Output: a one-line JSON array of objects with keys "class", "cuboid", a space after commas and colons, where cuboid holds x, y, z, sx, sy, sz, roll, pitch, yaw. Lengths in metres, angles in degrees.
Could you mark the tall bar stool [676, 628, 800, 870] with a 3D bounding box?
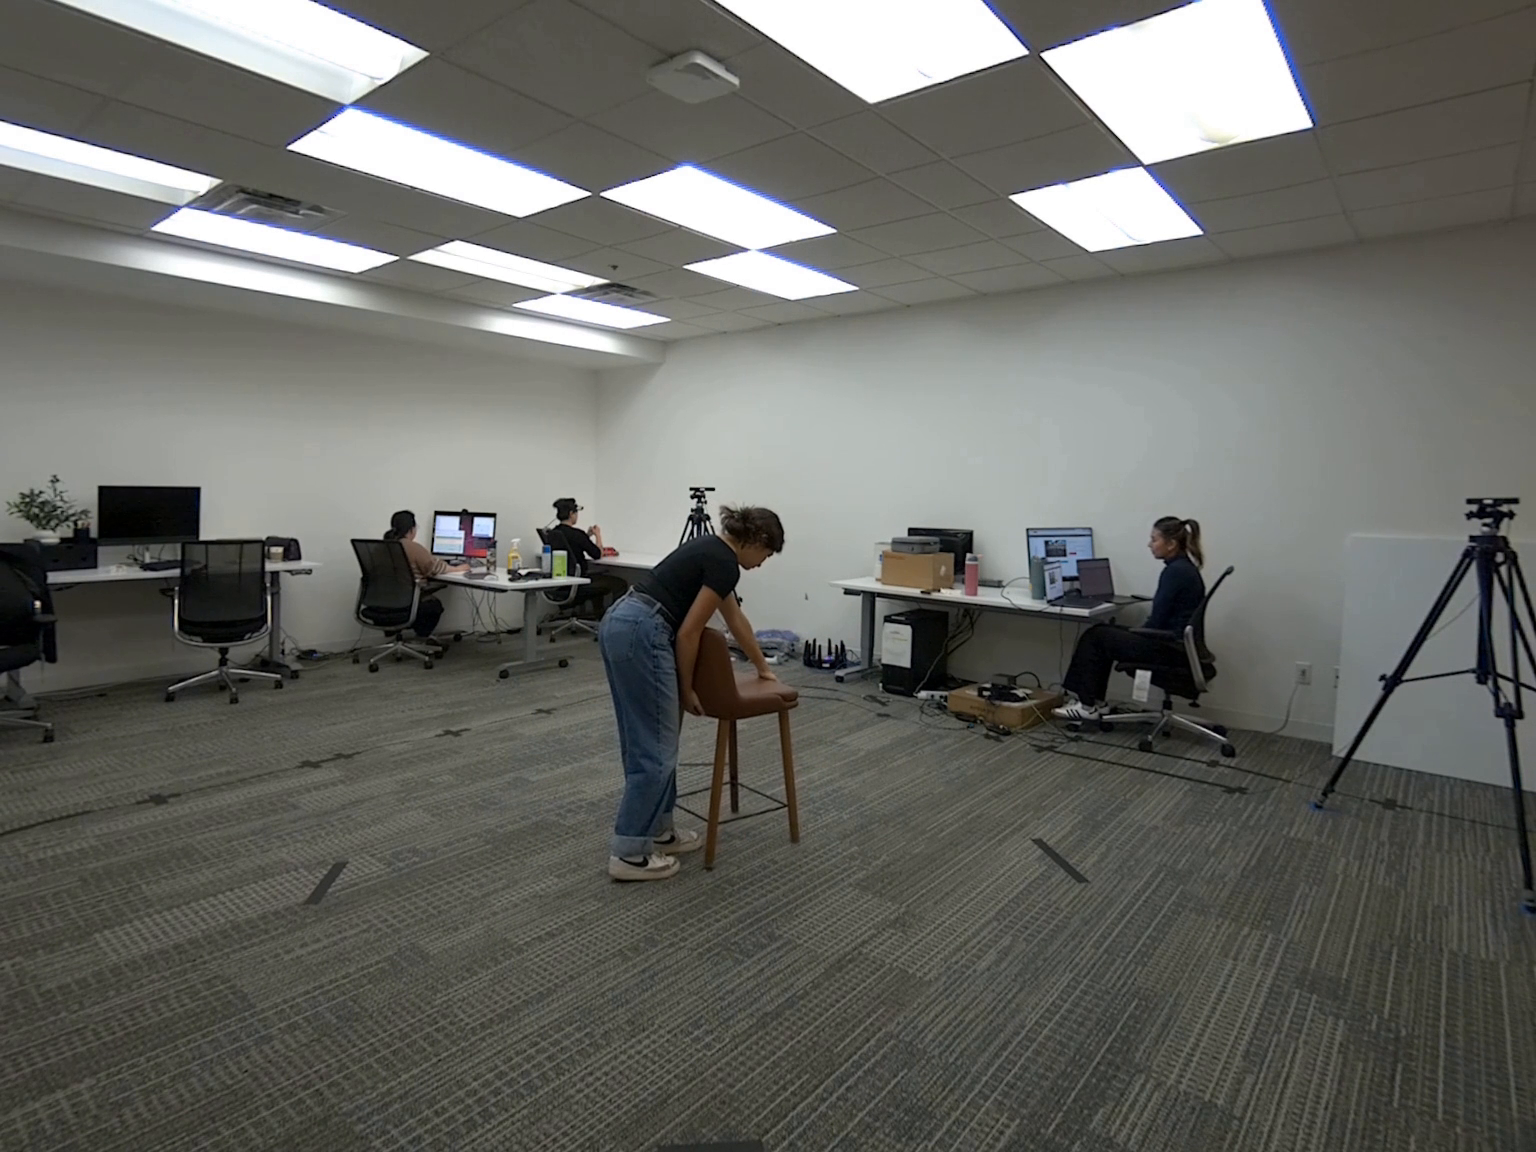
[{"class": "tall bar stool", "cuboid": [-0.173, 0.604, 3.362, 0.453, 0.887, 0.472, -2, 4, -41]}]
